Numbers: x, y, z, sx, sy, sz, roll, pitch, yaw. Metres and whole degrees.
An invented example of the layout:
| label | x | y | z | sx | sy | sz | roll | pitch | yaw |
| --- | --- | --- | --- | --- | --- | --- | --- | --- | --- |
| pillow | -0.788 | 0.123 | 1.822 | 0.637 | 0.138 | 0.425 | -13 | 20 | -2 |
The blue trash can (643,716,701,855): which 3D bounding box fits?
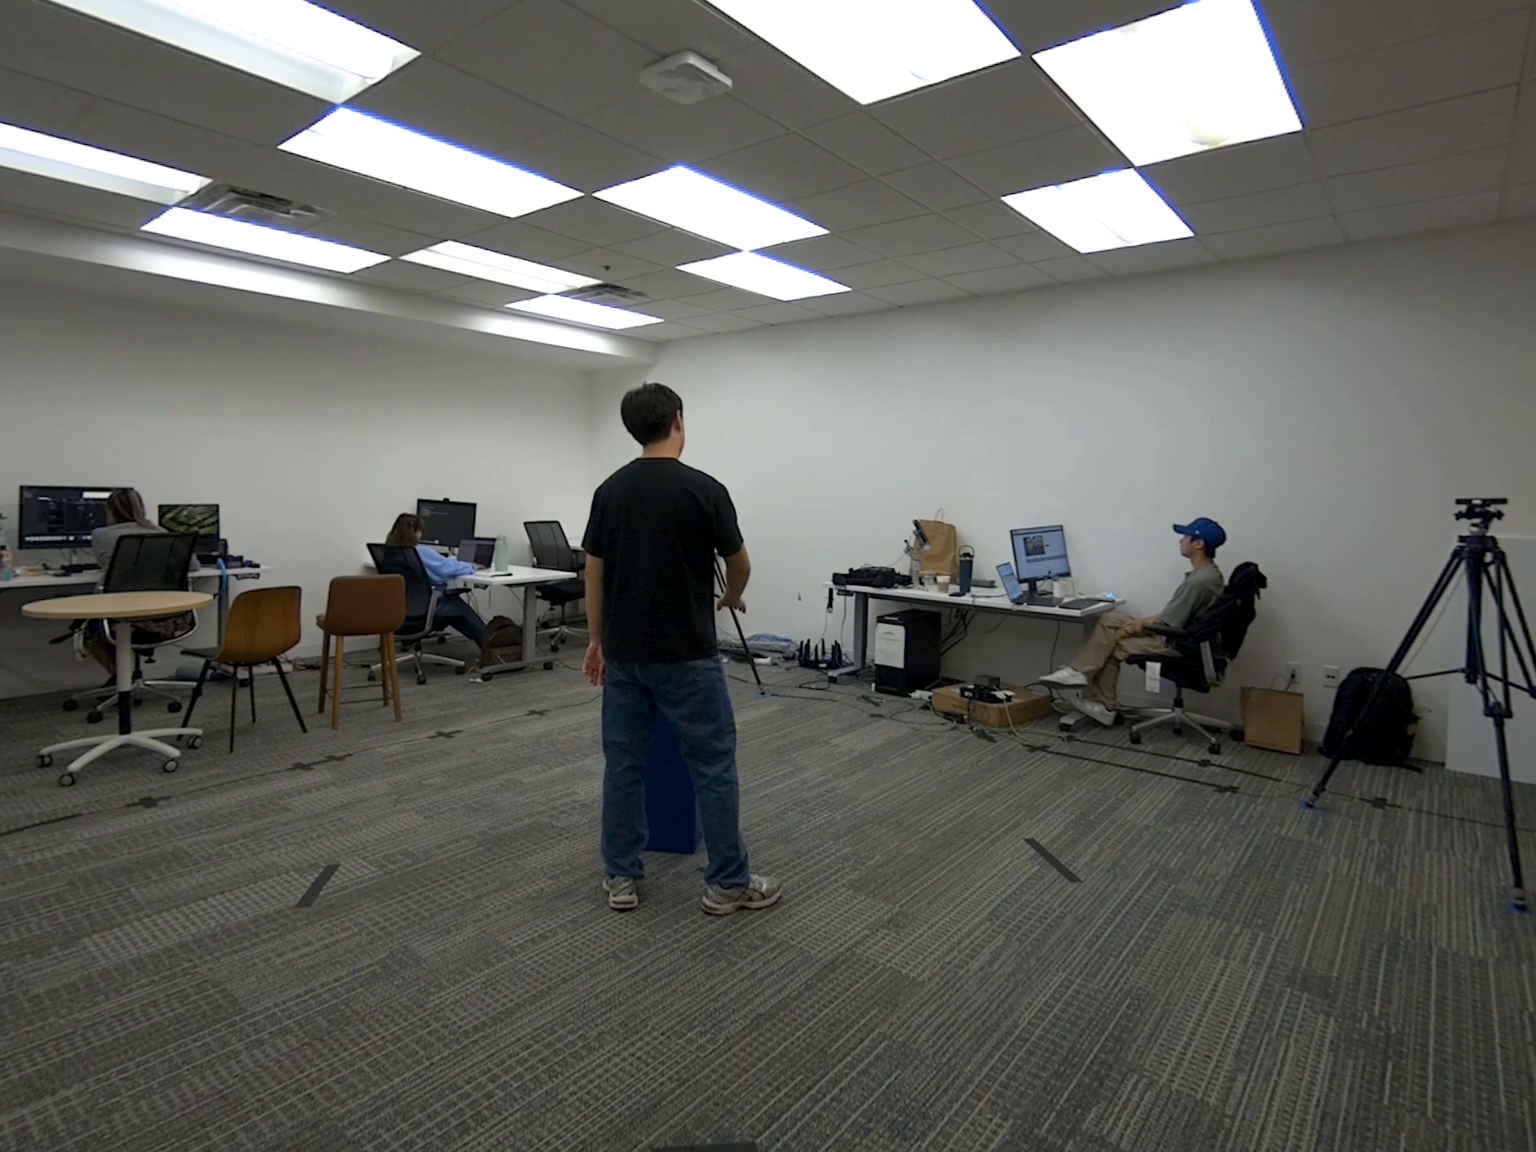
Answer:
| label | x | y | z | sx | sy | sz | roll | pitch | yaw |
| --- | --- | --- | --- | --- | --- | --- | --- | --- | --- |
| blue trash can | -0.422 | 0.677 | 3.386 | 0.381 | 0.710 | 0.372 | 2 | 5 | 7 |
